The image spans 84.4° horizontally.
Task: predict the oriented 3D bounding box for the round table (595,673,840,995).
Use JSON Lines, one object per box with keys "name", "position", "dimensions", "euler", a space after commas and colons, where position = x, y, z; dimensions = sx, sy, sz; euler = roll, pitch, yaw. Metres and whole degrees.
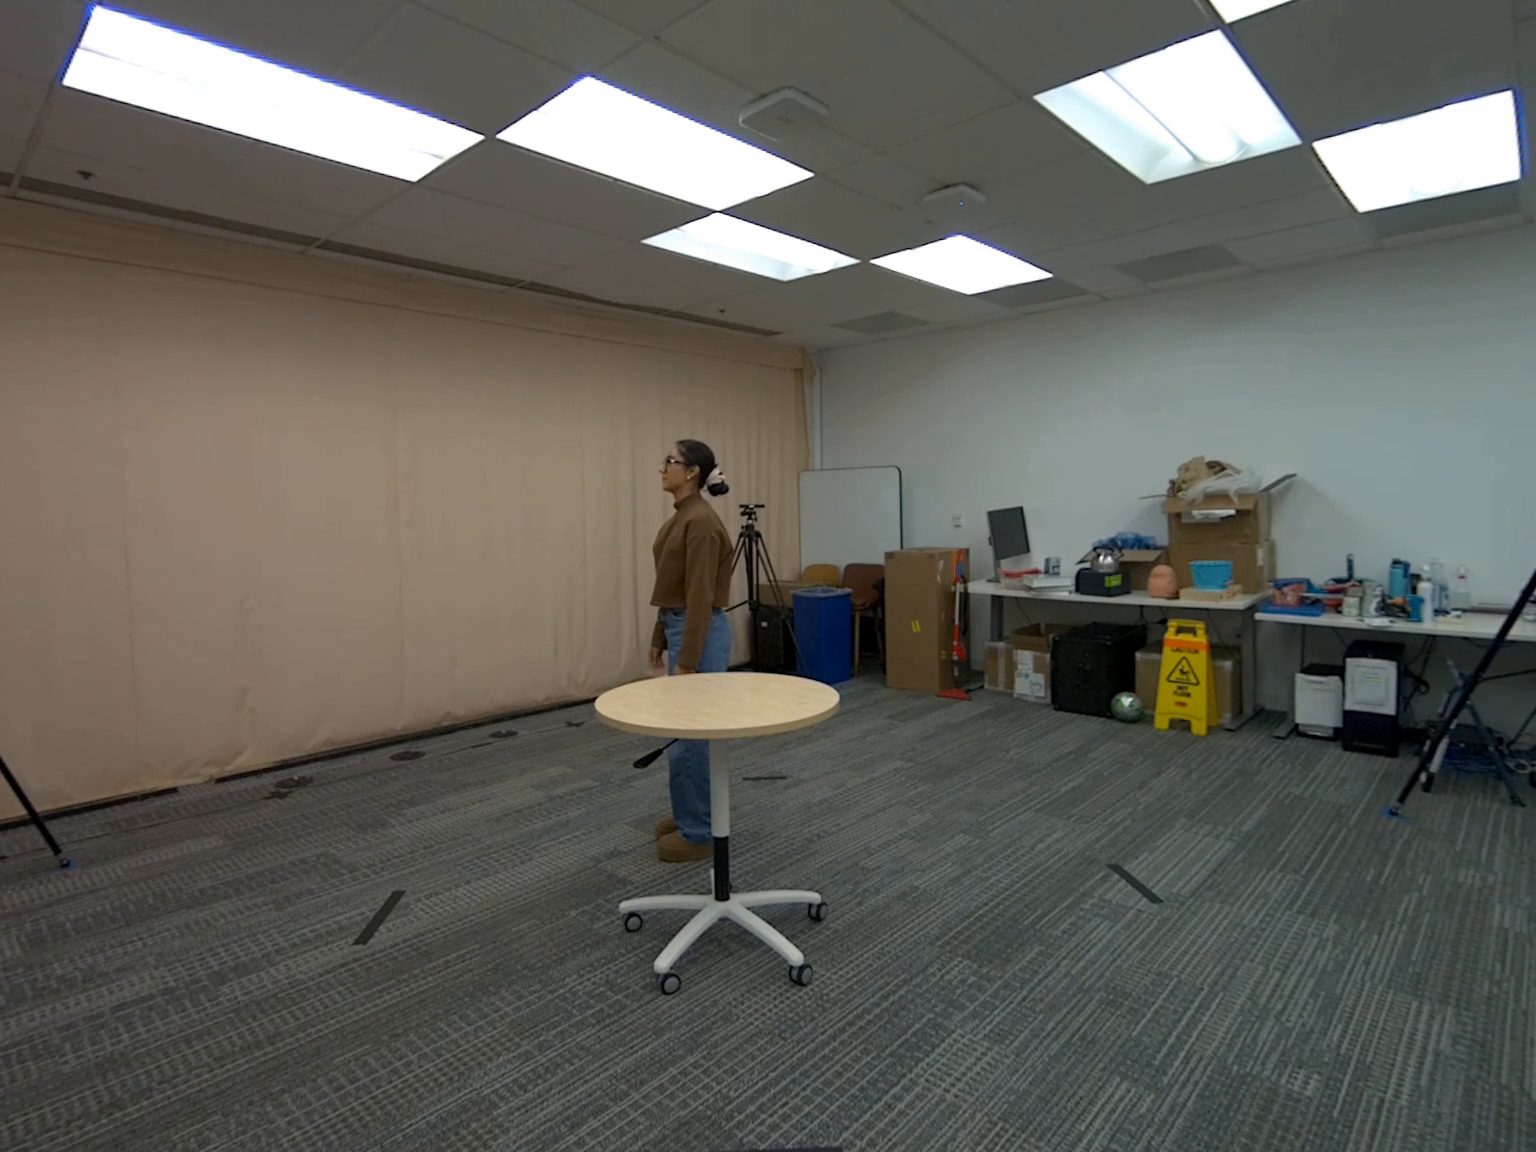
{"name": "round table", "position": [-0.148, 0.781, 2.668], "dimensions": [0.763, 0.792, 0.767], "euler": [-2, 4, -2]}
